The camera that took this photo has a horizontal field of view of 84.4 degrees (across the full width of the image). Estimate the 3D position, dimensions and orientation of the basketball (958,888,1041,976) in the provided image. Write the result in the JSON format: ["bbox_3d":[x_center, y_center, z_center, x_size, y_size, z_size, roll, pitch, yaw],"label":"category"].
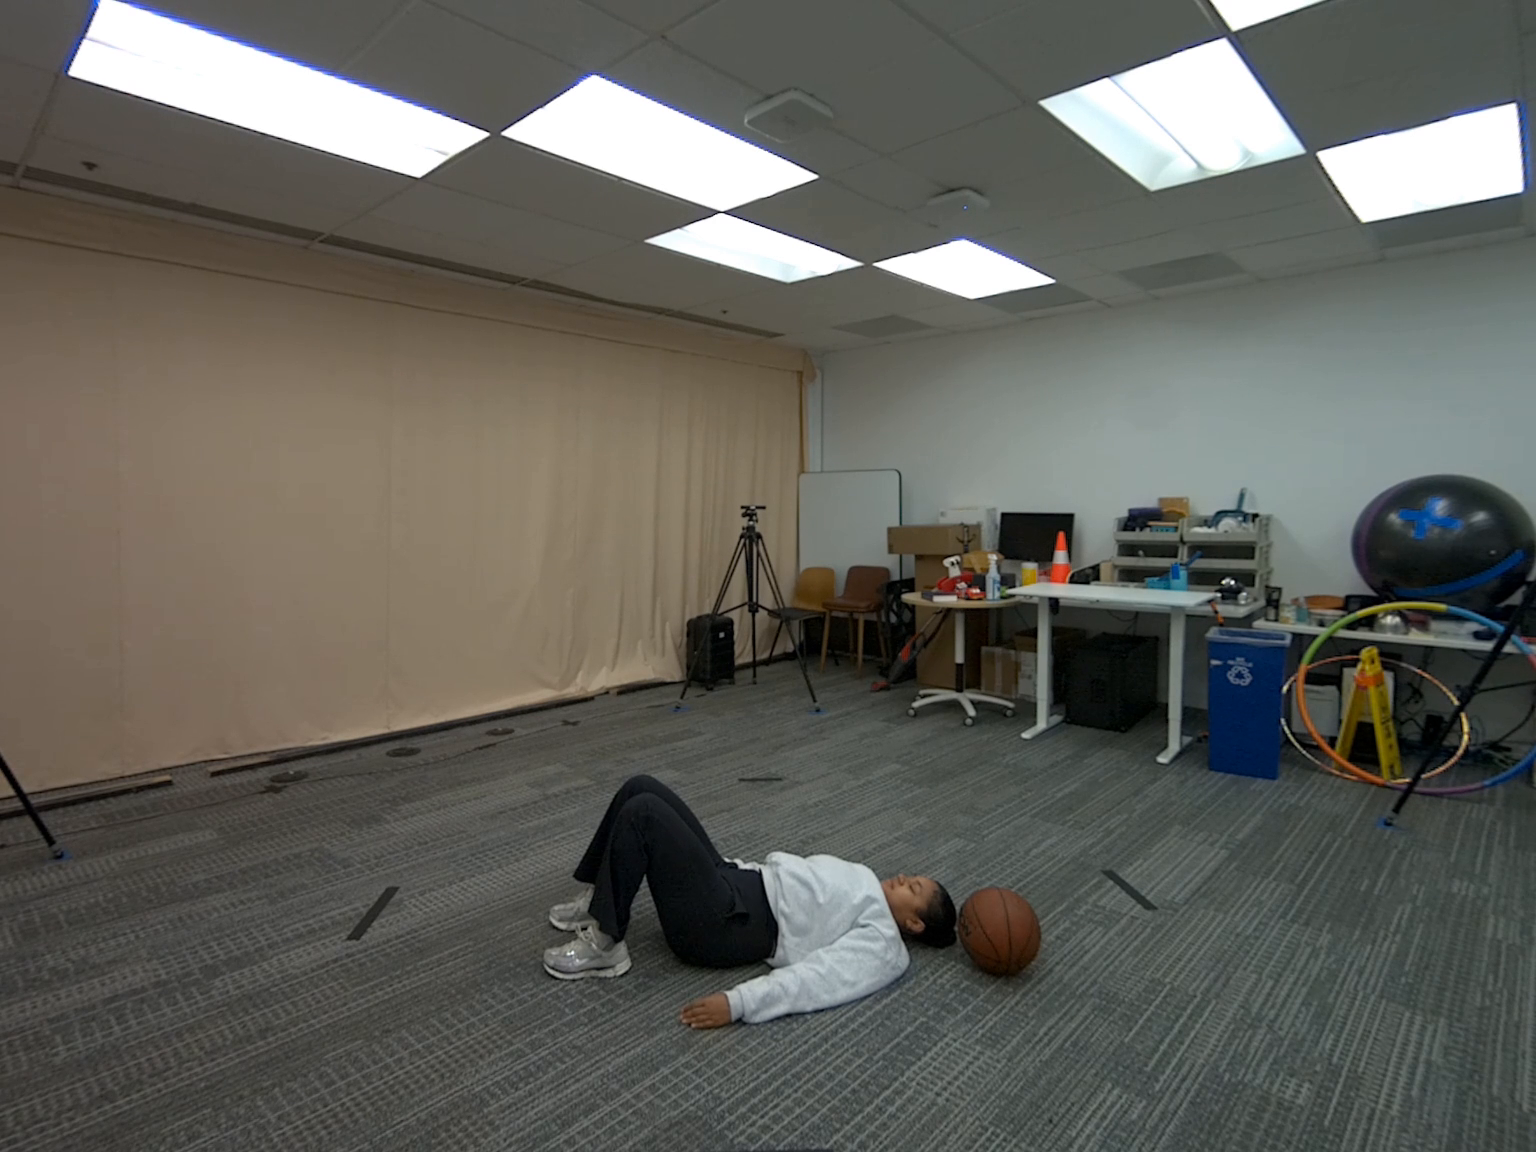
[{"bbox_3d":[0.698,1.057,2.524,0.236,0.235,0.237,0,4,-2],"label":"basketball"}]
